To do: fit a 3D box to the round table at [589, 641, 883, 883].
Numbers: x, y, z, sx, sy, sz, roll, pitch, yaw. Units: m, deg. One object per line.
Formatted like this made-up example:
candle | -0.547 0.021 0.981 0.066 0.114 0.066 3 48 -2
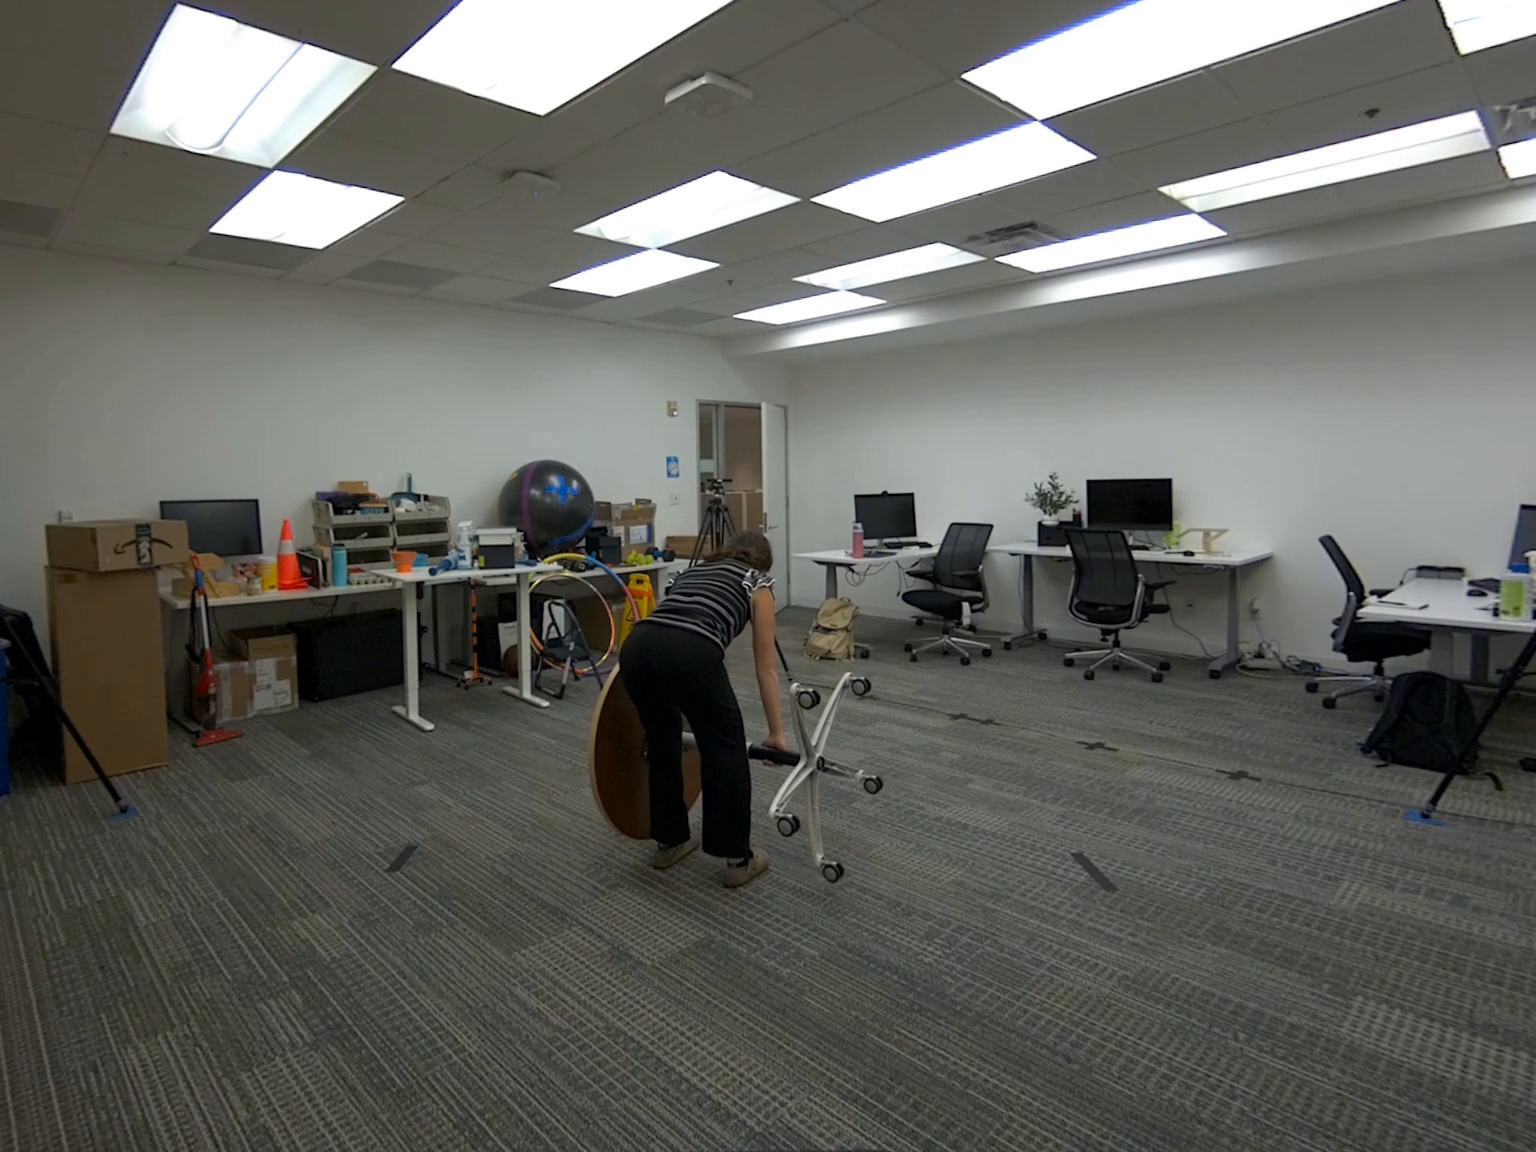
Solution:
round table | -0.087 0.635 3.075 0.816 0.761 0.746 2 6 33
